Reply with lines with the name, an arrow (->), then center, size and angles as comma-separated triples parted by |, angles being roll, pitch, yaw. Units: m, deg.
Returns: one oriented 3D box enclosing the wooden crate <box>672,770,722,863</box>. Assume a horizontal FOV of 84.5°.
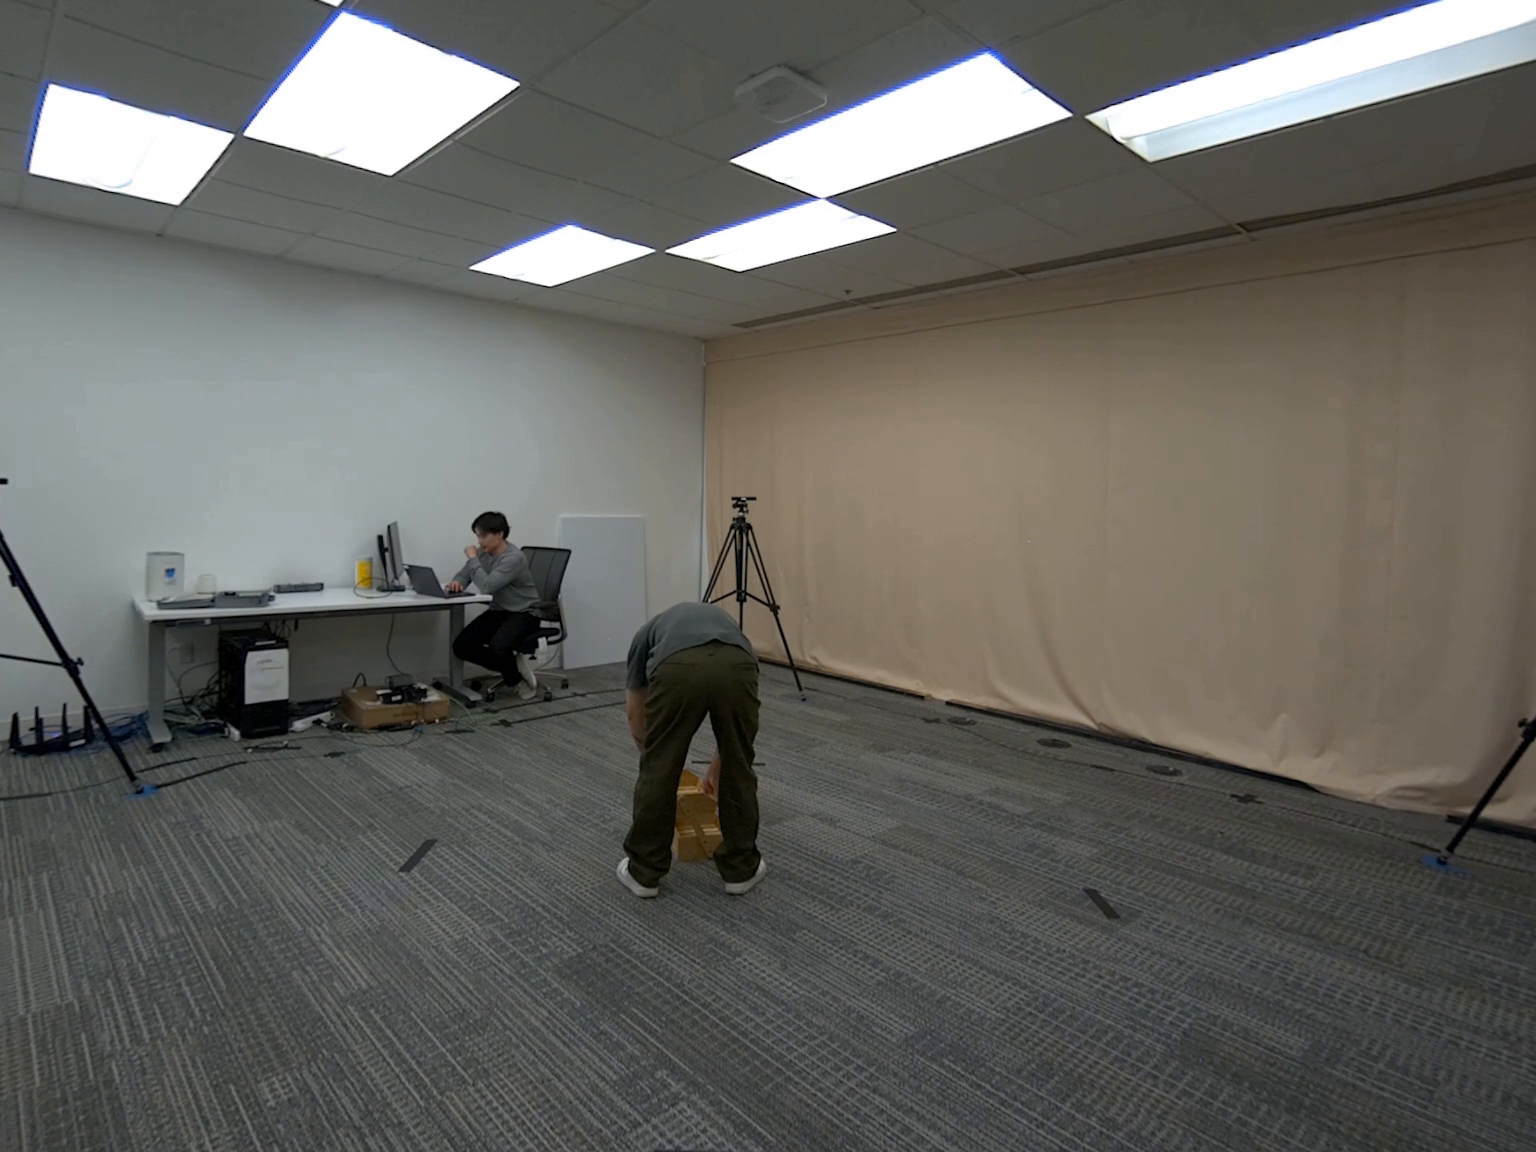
wooden crate -> -0.296, 0.946, 3.388 | 0.298, 0.273, 0.329 | 0, 4, -17
